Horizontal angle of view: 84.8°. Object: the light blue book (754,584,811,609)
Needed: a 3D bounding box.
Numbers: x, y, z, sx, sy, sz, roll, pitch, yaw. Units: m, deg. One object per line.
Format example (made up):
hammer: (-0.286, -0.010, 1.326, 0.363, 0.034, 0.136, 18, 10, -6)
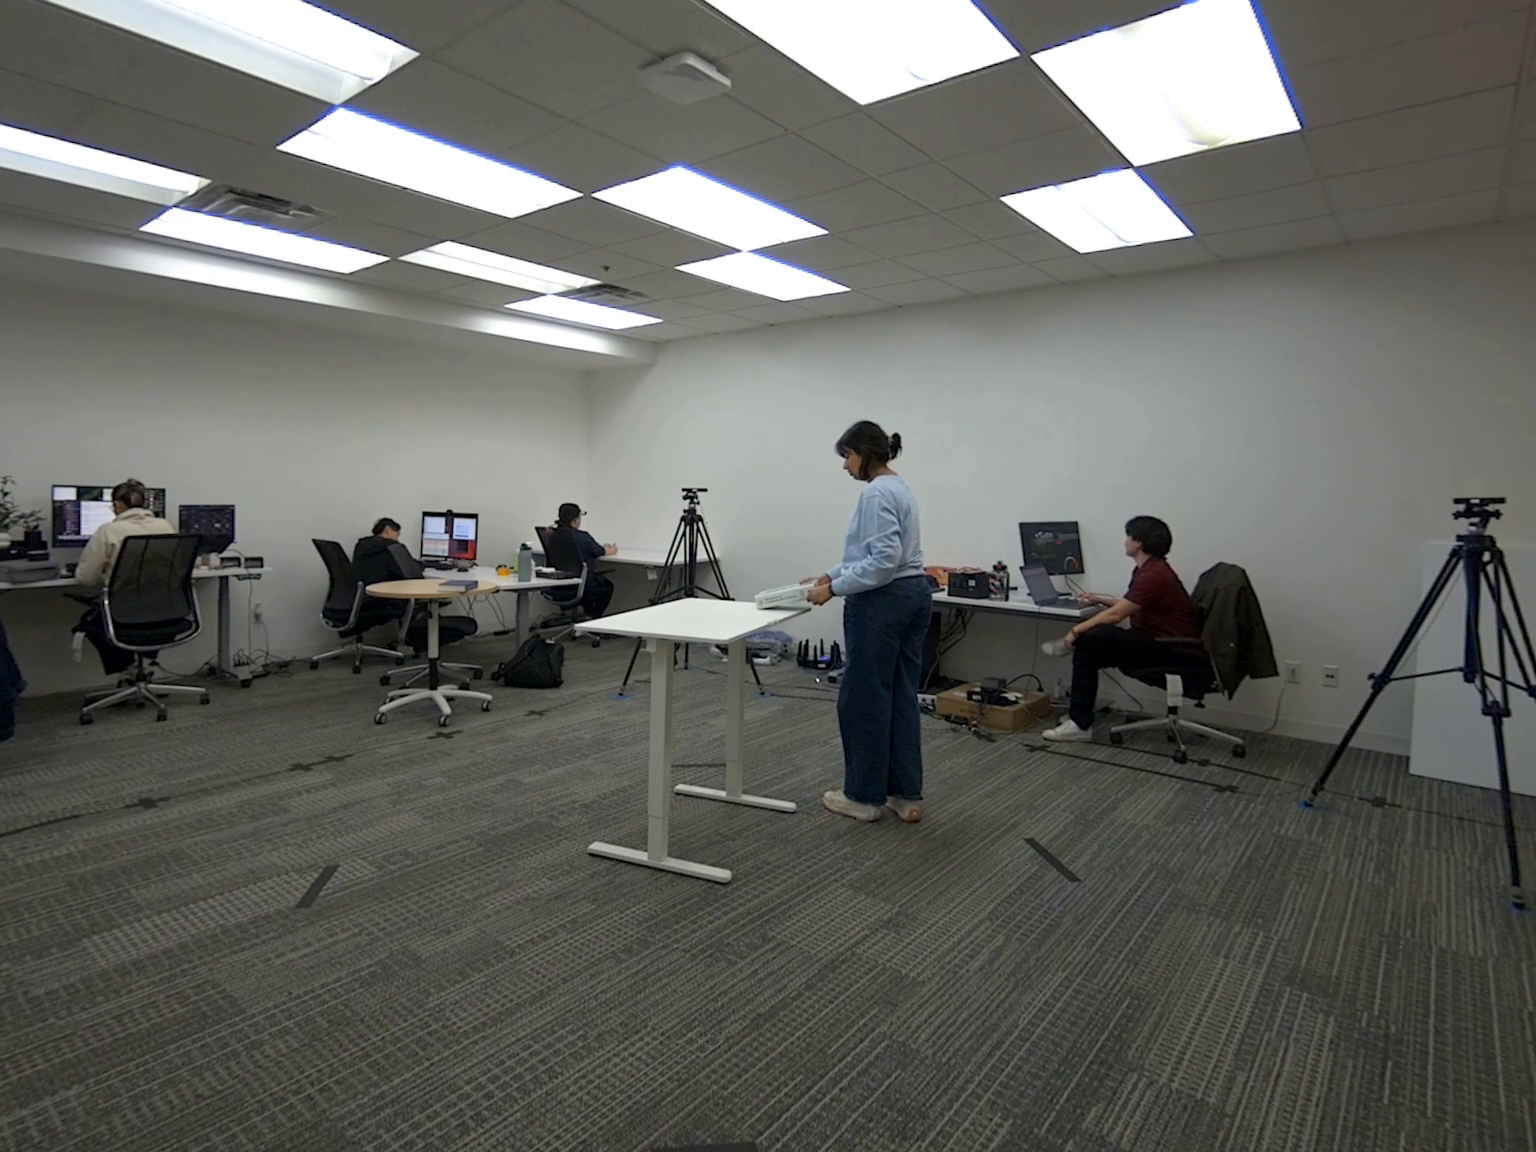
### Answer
light blue book: (0.067, 0.073, 3.730, 0.263, 0.059, 0.191, -12, 6, 9)
